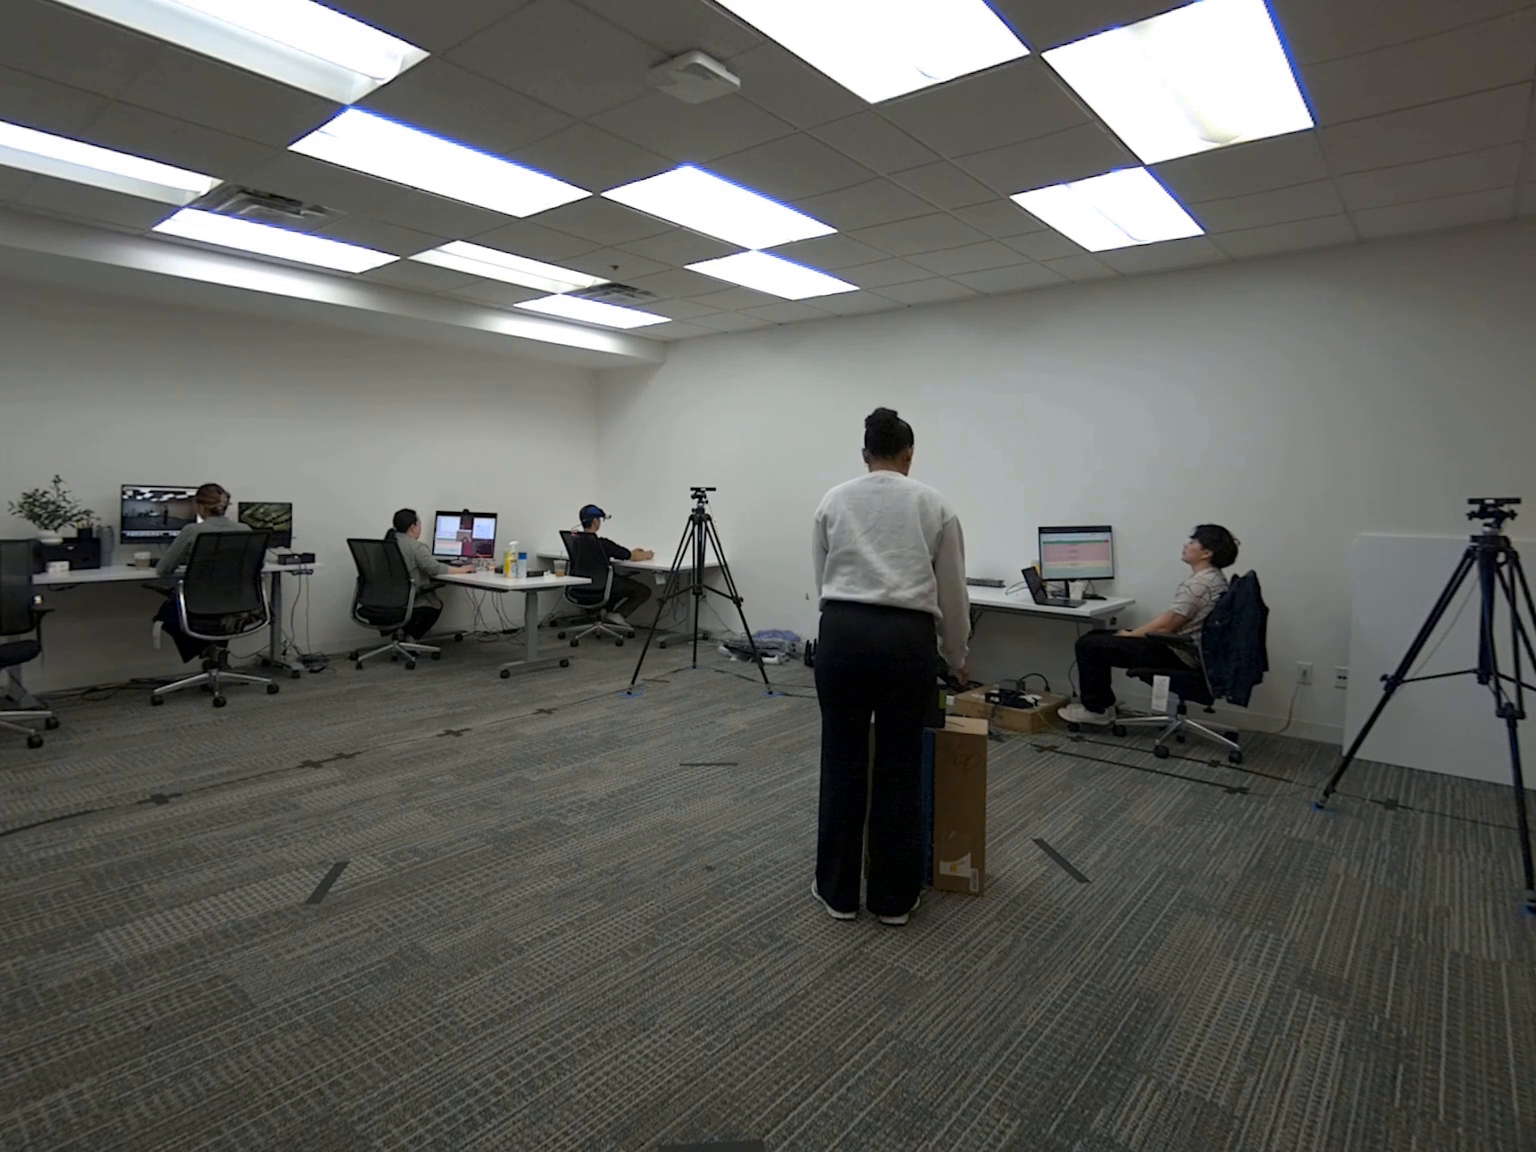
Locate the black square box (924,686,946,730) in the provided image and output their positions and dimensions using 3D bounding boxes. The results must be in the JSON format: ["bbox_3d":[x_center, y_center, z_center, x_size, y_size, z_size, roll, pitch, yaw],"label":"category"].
[{"bbox_3d":[0.496,0.428,3.099,0.216,0.155,0.230,1,5,-4],"label":"black square box"}]
